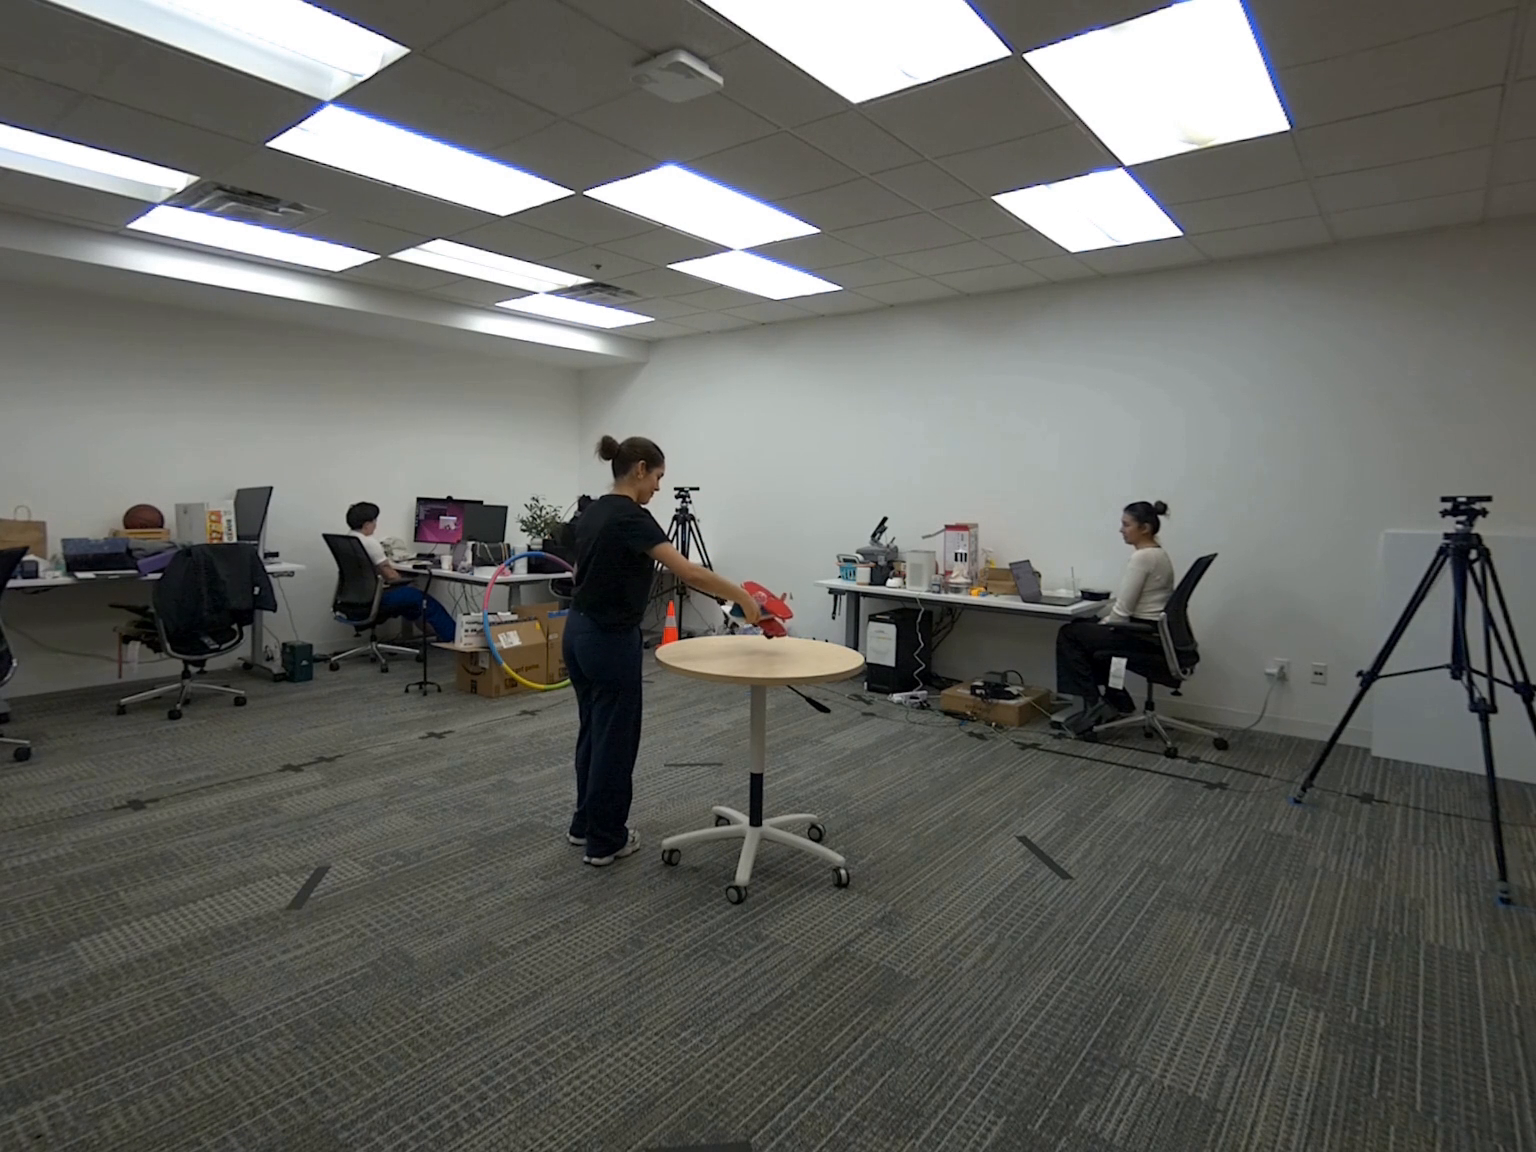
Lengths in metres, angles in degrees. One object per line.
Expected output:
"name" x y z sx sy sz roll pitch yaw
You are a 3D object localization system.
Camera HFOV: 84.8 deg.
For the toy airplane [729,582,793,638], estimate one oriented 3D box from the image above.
"toy airplane" -0.027 0.129 3.148 0.256 0.155 0.255 29 15 14
